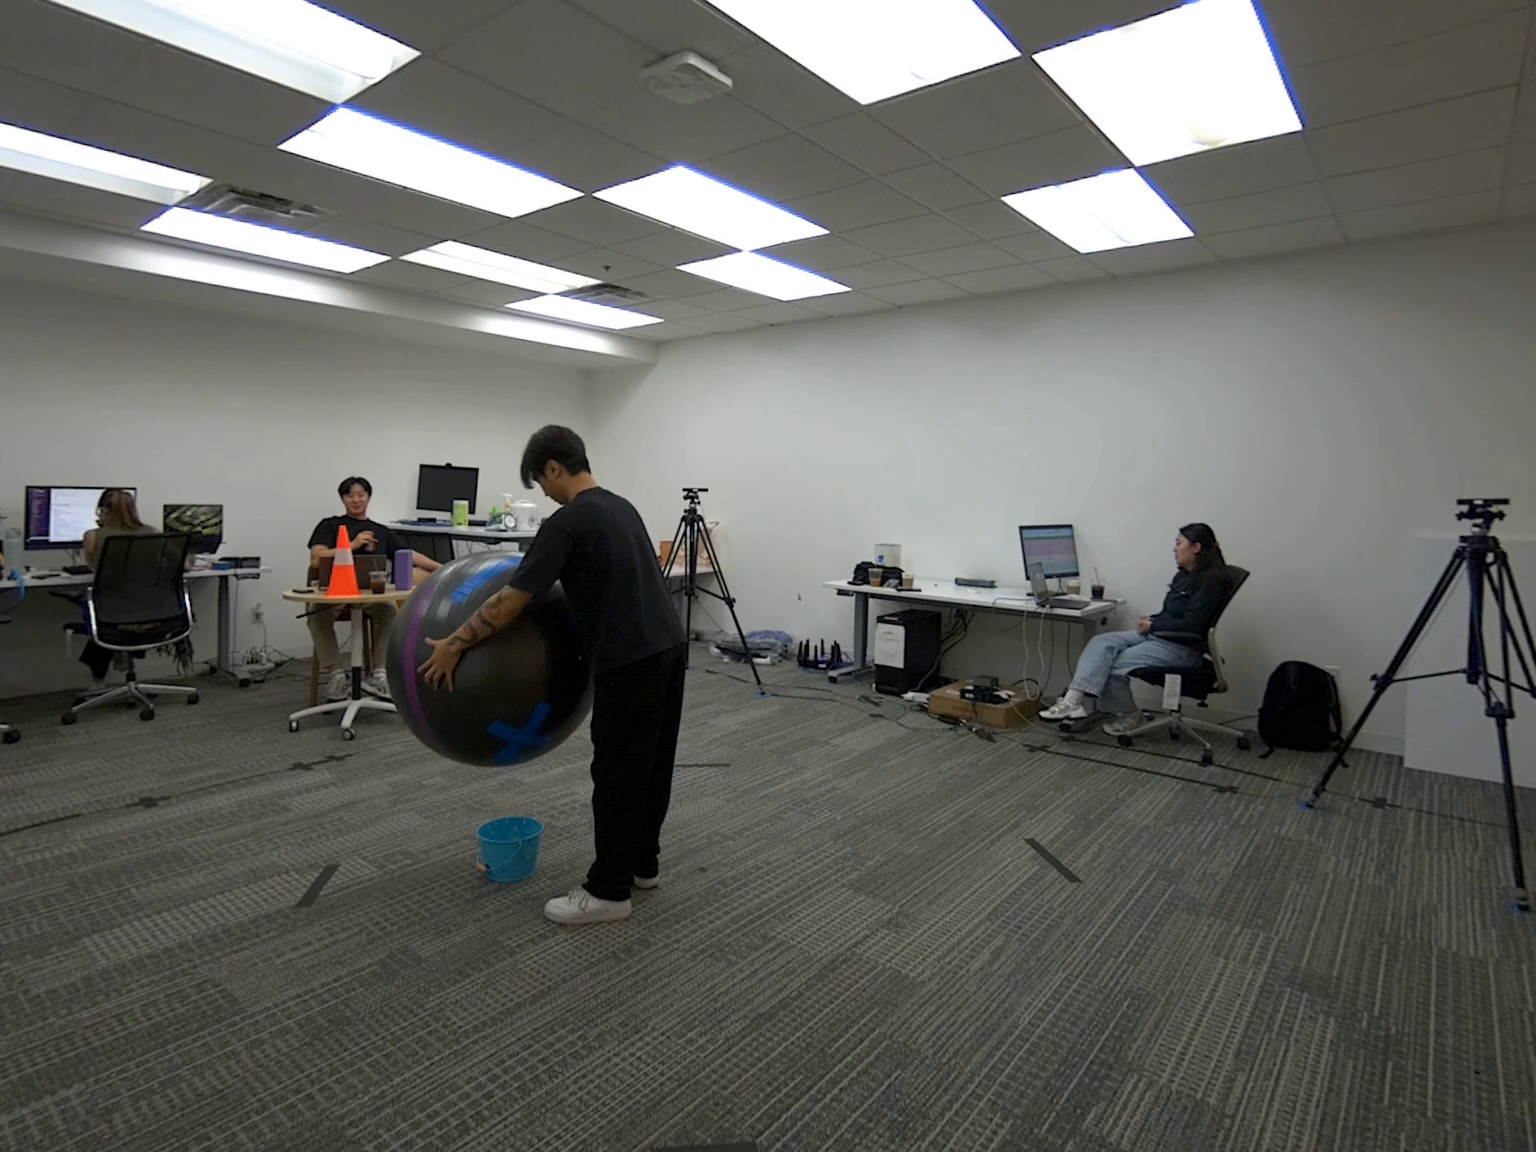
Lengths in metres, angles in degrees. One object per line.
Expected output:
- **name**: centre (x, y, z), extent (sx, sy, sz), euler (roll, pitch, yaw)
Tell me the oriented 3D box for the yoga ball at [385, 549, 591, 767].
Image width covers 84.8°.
- **yoga ball**: centre (-0.974, 0.289, 3.028), extent (0.757, 0.756, 0.762), euler (1, 4, -2)
